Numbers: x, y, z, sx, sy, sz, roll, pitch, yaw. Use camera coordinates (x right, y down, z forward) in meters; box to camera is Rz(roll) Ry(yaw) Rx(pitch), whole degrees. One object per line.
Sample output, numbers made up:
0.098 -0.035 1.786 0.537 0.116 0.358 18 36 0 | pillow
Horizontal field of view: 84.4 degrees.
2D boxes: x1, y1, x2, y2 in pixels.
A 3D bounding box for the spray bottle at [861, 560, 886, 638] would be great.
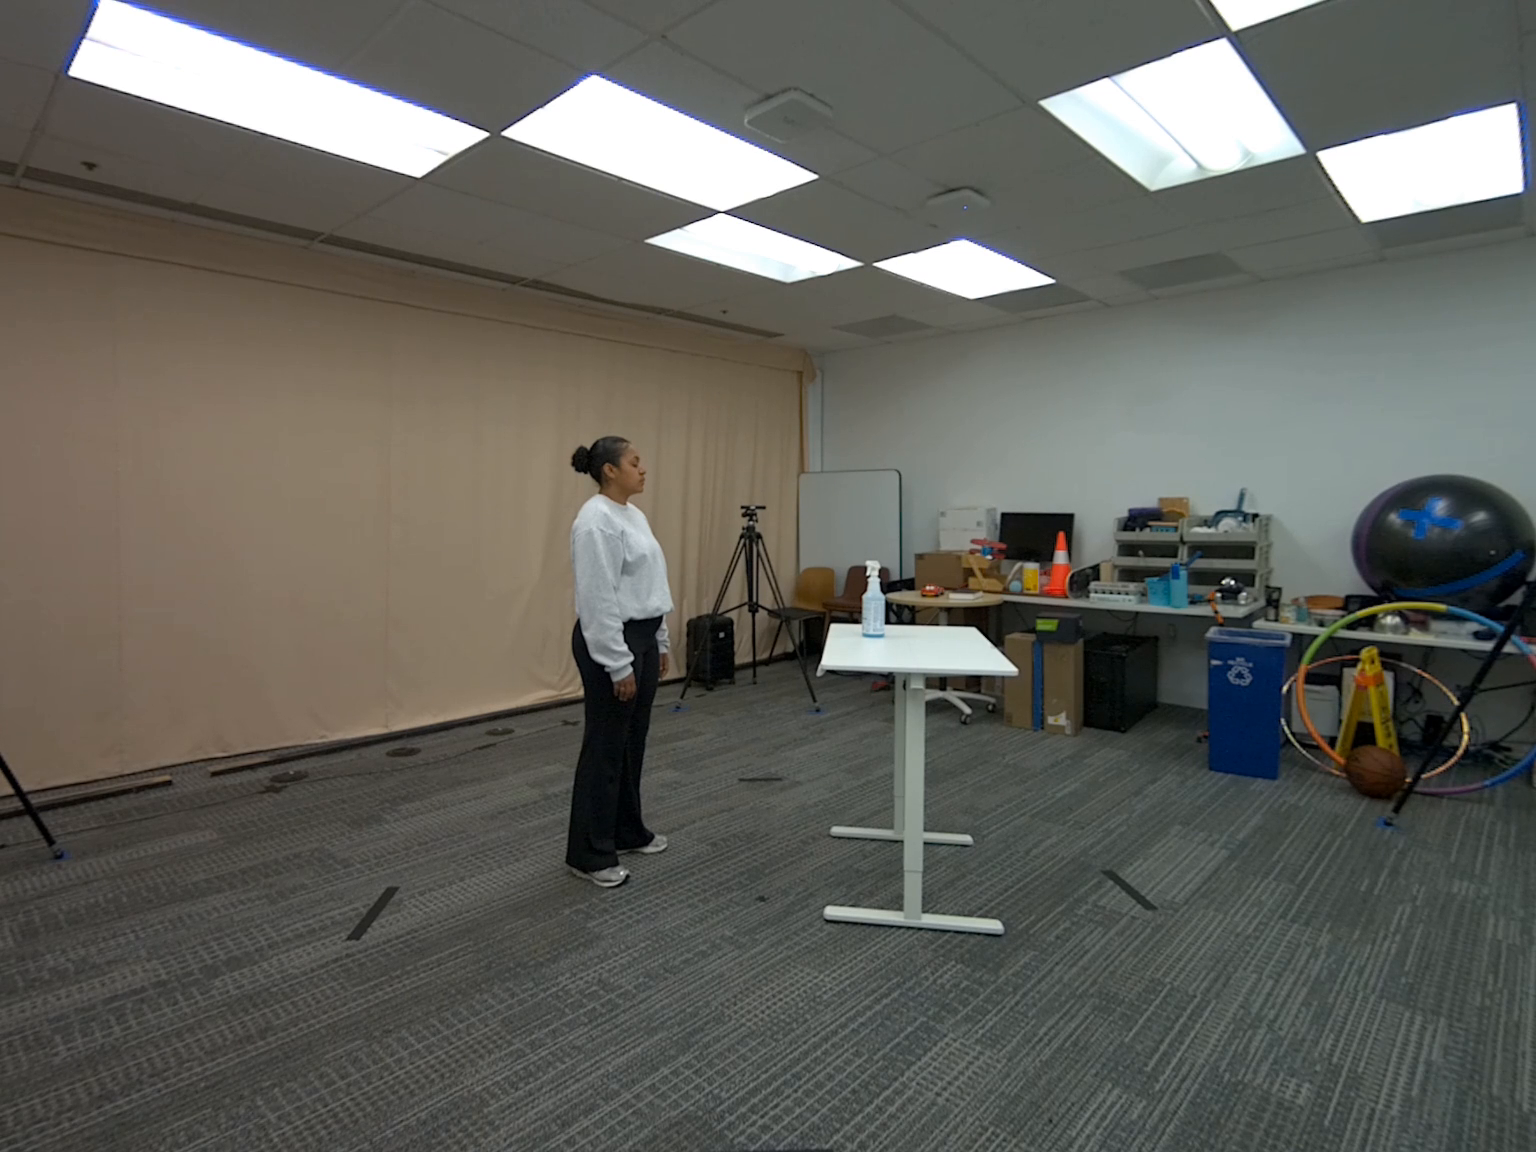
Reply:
0.416 0.091 3.272 0.088 0.297 0.089 -2 3 -24 | spray bottle
